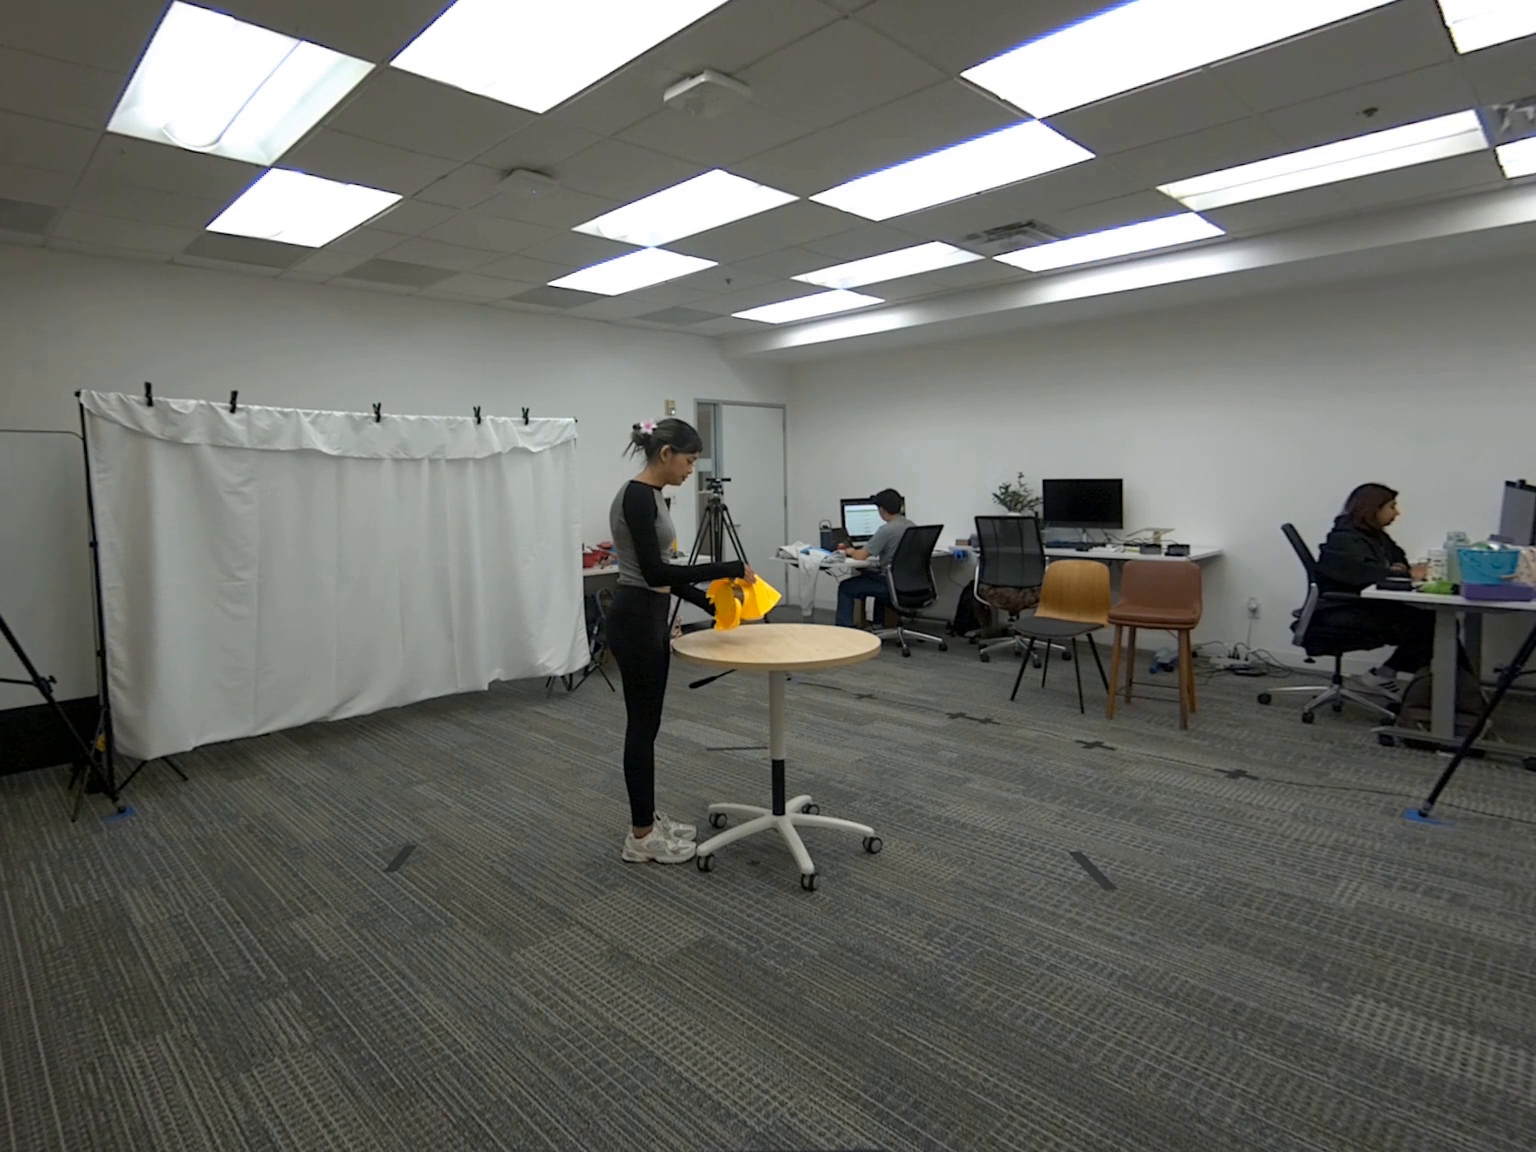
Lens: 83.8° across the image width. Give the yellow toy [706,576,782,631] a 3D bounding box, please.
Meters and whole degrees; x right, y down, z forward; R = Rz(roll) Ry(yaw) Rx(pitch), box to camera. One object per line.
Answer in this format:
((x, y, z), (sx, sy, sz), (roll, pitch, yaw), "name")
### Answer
((-0.081, 0.100, 3.174), (0.224, 0.210, 0.193), (4, -32, -37), "yellow toy")
